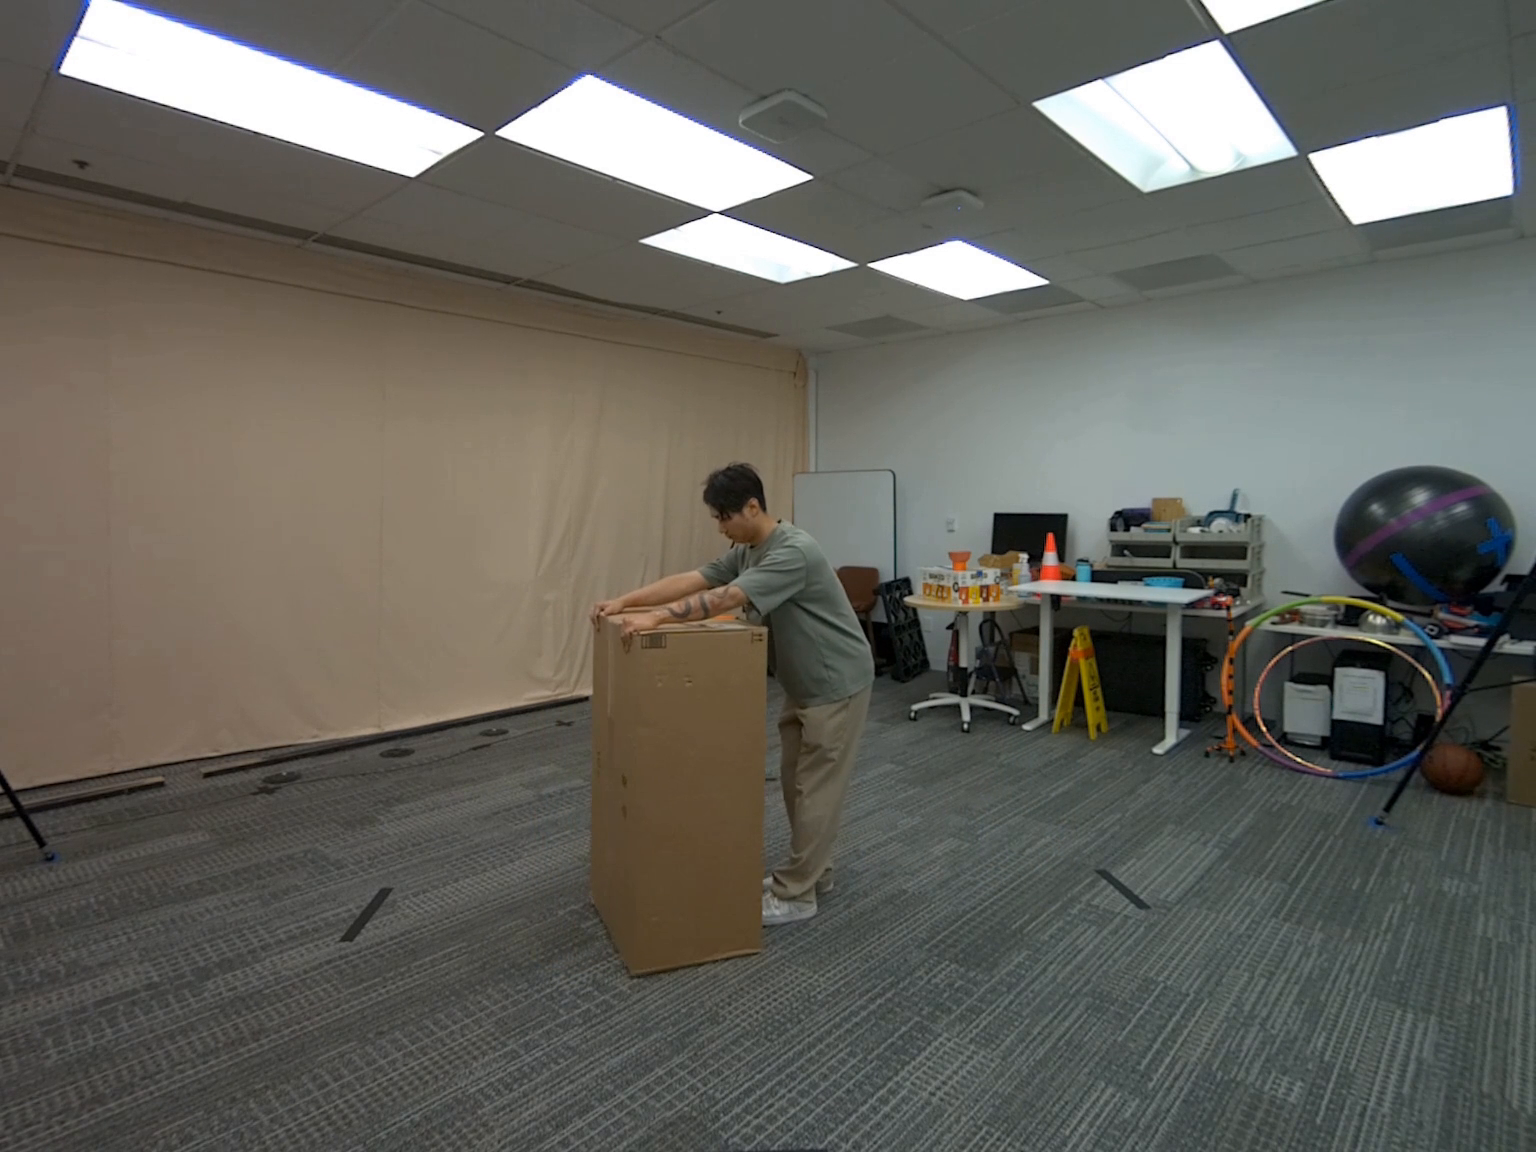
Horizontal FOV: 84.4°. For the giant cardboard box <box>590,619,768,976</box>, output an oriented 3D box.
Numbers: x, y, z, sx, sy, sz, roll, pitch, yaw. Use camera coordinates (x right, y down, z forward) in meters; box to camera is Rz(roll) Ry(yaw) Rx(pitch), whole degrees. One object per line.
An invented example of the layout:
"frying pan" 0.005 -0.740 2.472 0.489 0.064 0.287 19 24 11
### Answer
"giant cardboard box" -0.318 0.647 2.798 0.417 1.024 0.591 0 3 -23
